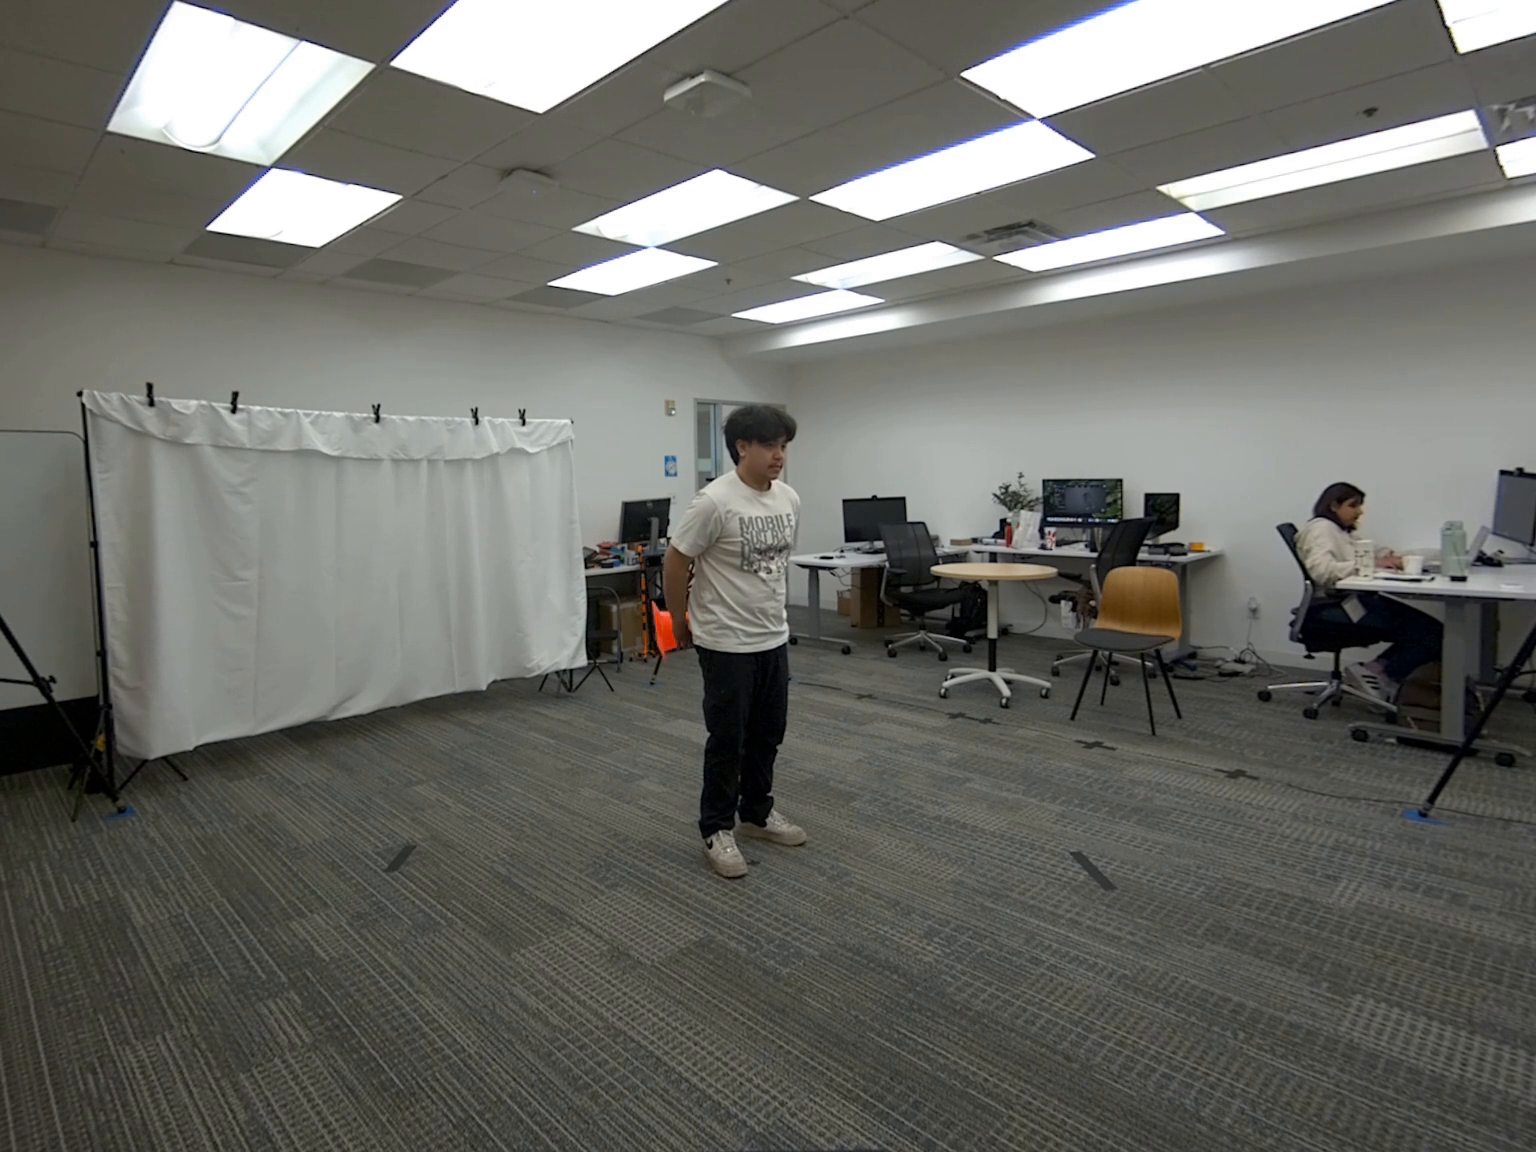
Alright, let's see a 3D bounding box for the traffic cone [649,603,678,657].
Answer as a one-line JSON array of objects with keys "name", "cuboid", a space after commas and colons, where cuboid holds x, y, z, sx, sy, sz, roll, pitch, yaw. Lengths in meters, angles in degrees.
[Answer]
[{"name": "traffic cone", "cuboid": [-0.245, 0.200, 3.437, 0.380, 0.199, 0.211, -6, 22, -11]}]
